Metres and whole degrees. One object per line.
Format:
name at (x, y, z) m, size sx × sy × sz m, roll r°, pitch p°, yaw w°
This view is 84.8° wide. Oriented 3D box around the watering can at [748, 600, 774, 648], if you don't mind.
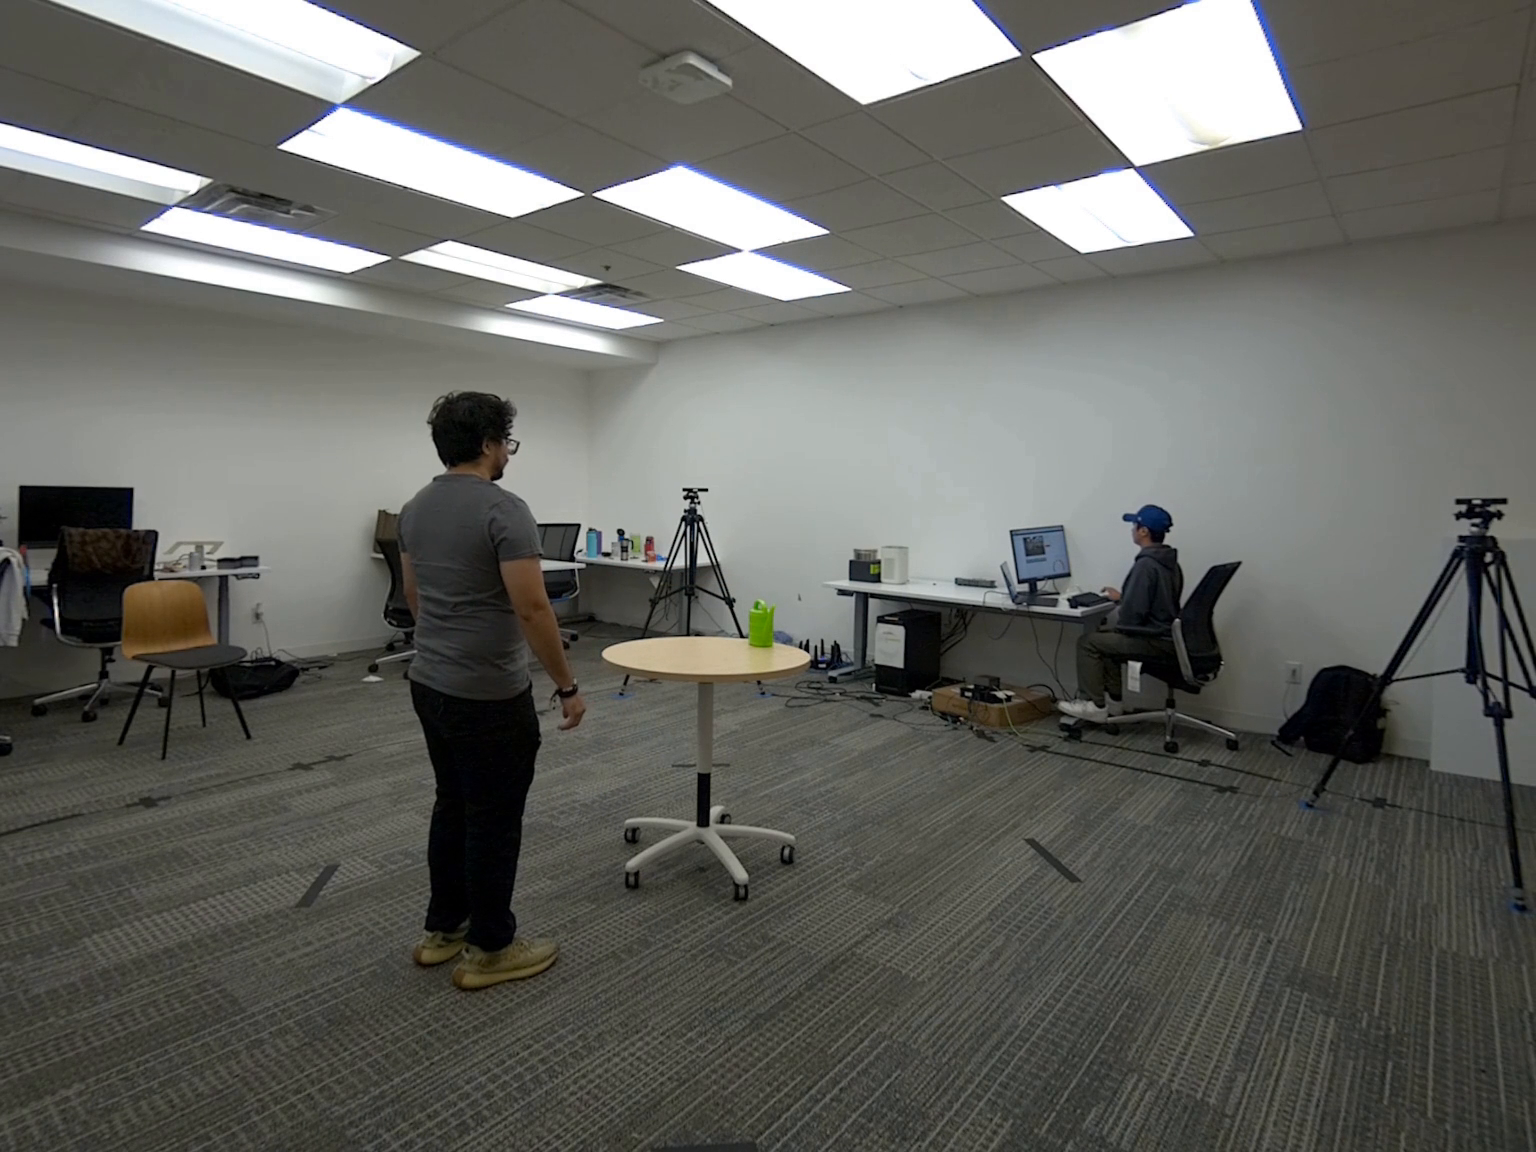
watering can at (-0.038, 0.186, 3.315) m, size 0.098 × 0.176 × 0.279 m, roll 1°, pitch 3°, yaw -4°
